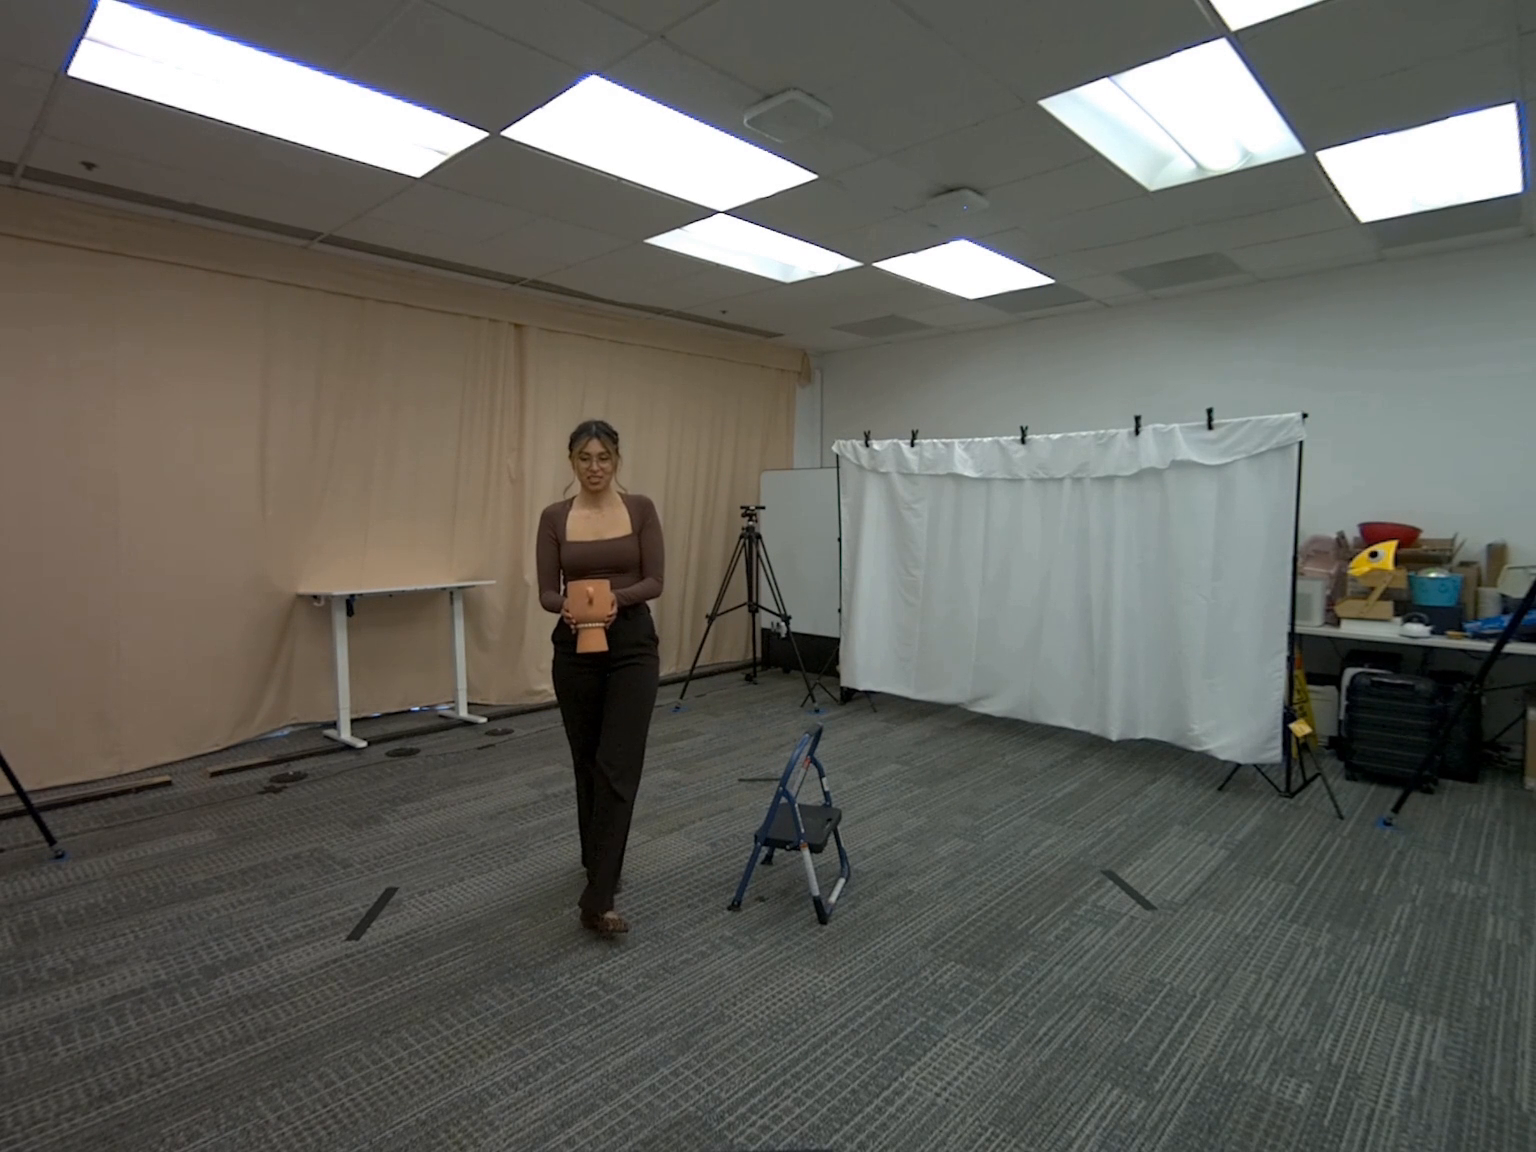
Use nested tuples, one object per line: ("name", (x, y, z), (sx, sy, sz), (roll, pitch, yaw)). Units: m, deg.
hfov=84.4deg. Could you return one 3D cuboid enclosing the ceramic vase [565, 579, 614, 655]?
("ceramic vase", (-0.562, 0.127, 2.625), (0.138, 0.220, 0.155), (-6, -3, 26))
